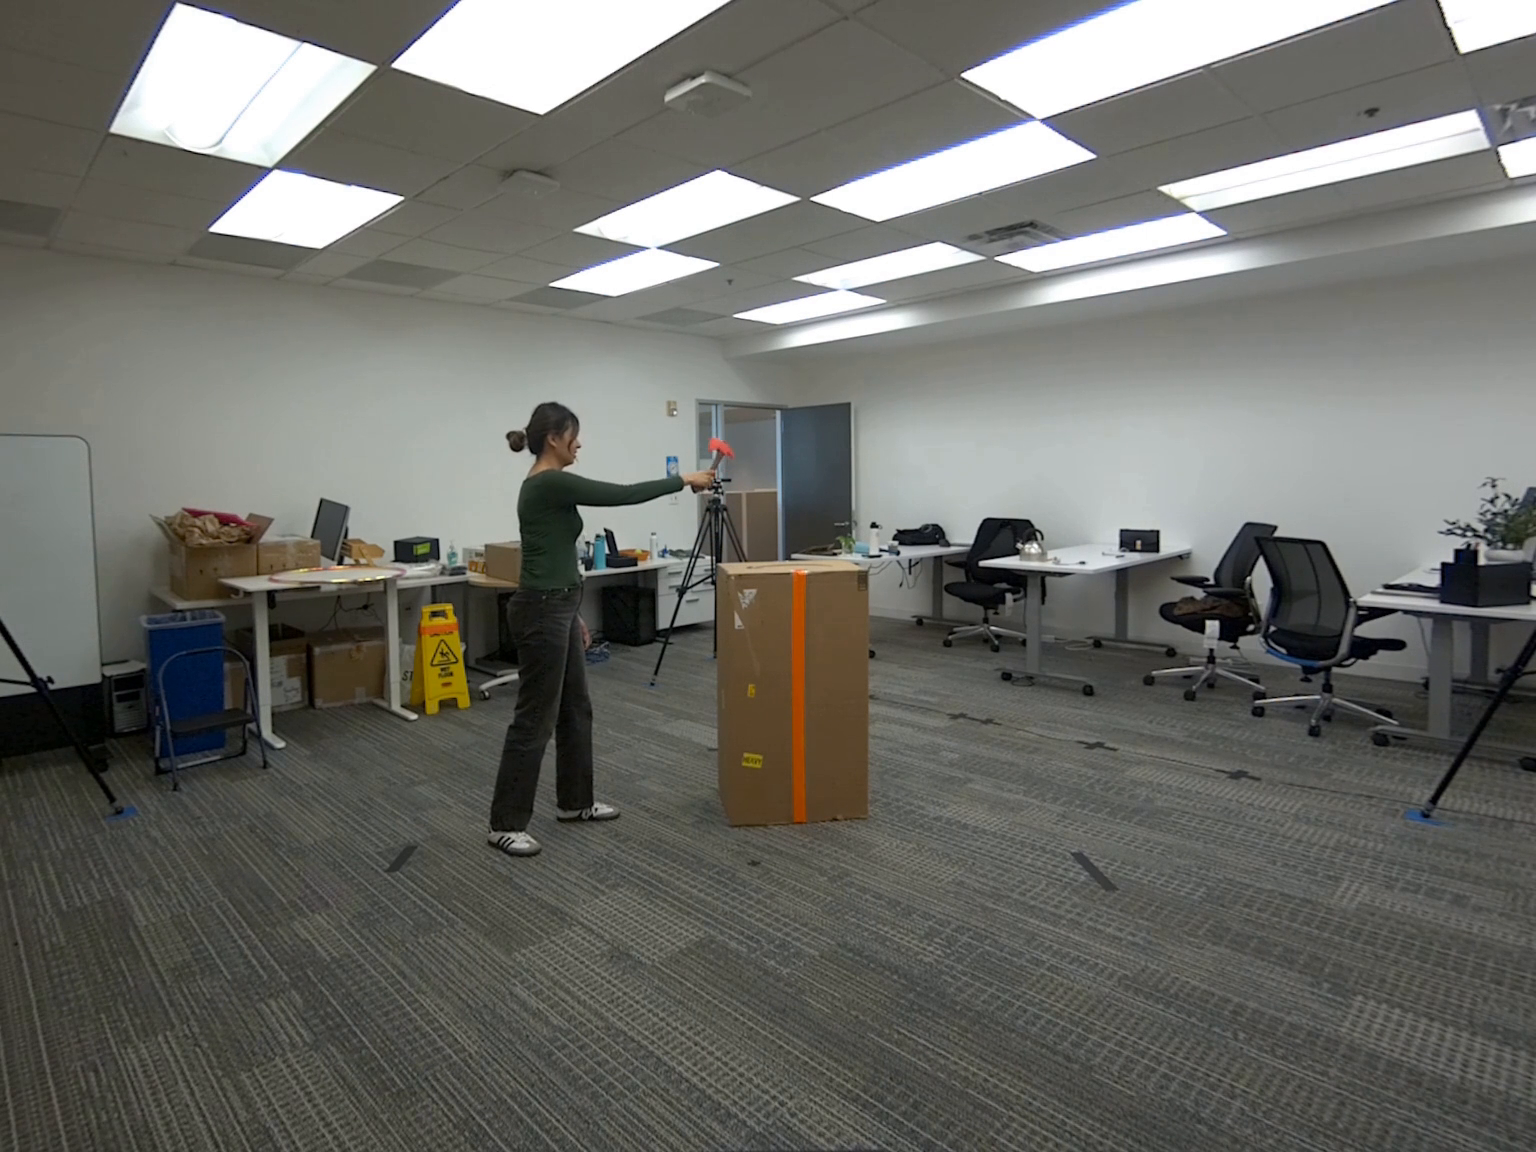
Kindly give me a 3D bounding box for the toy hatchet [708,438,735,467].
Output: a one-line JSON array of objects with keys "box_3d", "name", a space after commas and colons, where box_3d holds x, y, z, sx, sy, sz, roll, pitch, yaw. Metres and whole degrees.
[{"box_3d": [-0.245, -0.451, 3.467, 0.030, 0.128, 0.270, -6, 35, 49], "name": "toy hatchet"}]
